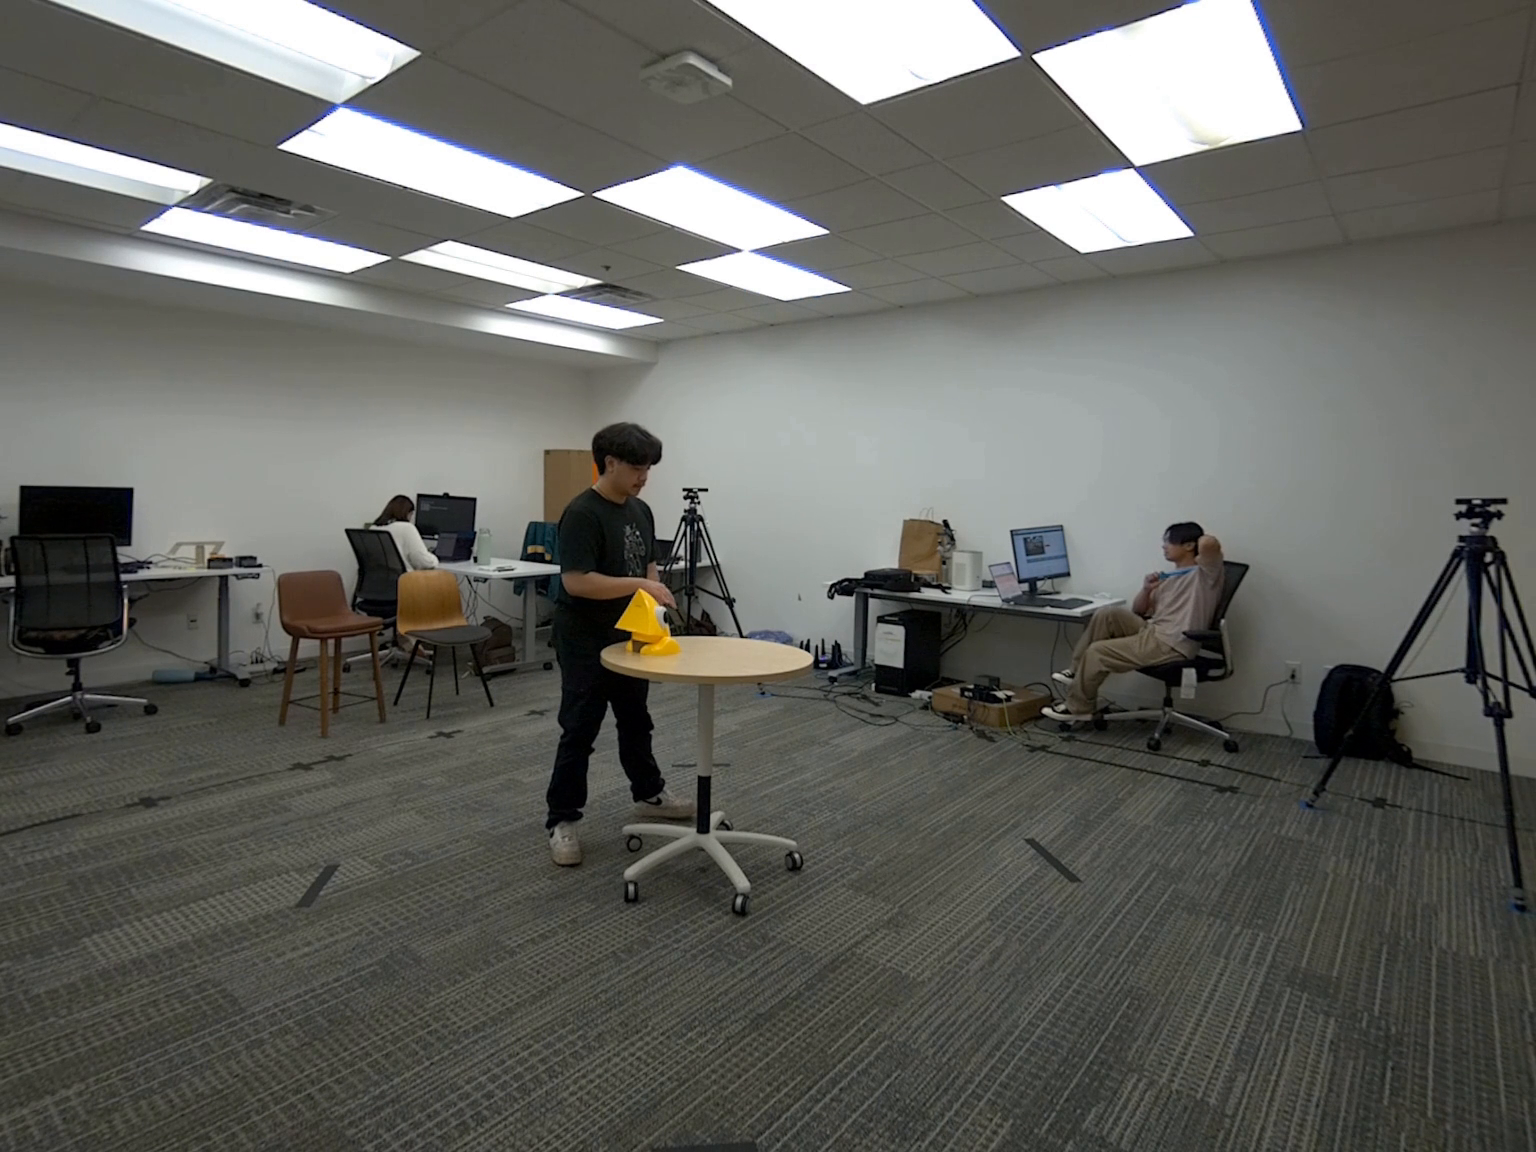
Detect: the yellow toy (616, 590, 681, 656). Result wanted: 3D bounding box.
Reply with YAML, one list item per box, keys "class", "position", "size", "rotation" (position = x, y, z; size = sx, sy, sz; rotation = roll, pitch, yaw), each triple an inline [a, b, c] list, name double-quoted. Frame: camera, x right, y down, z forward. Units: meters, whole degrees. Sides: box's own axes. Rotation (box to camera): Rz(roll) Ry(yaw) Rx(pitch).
- class: "yellow toy"
  position: [-0.437, 0.156, 3.109]
  size: [0.212, 0.230, 0.187]
  rotation: [5, 4, 44]
